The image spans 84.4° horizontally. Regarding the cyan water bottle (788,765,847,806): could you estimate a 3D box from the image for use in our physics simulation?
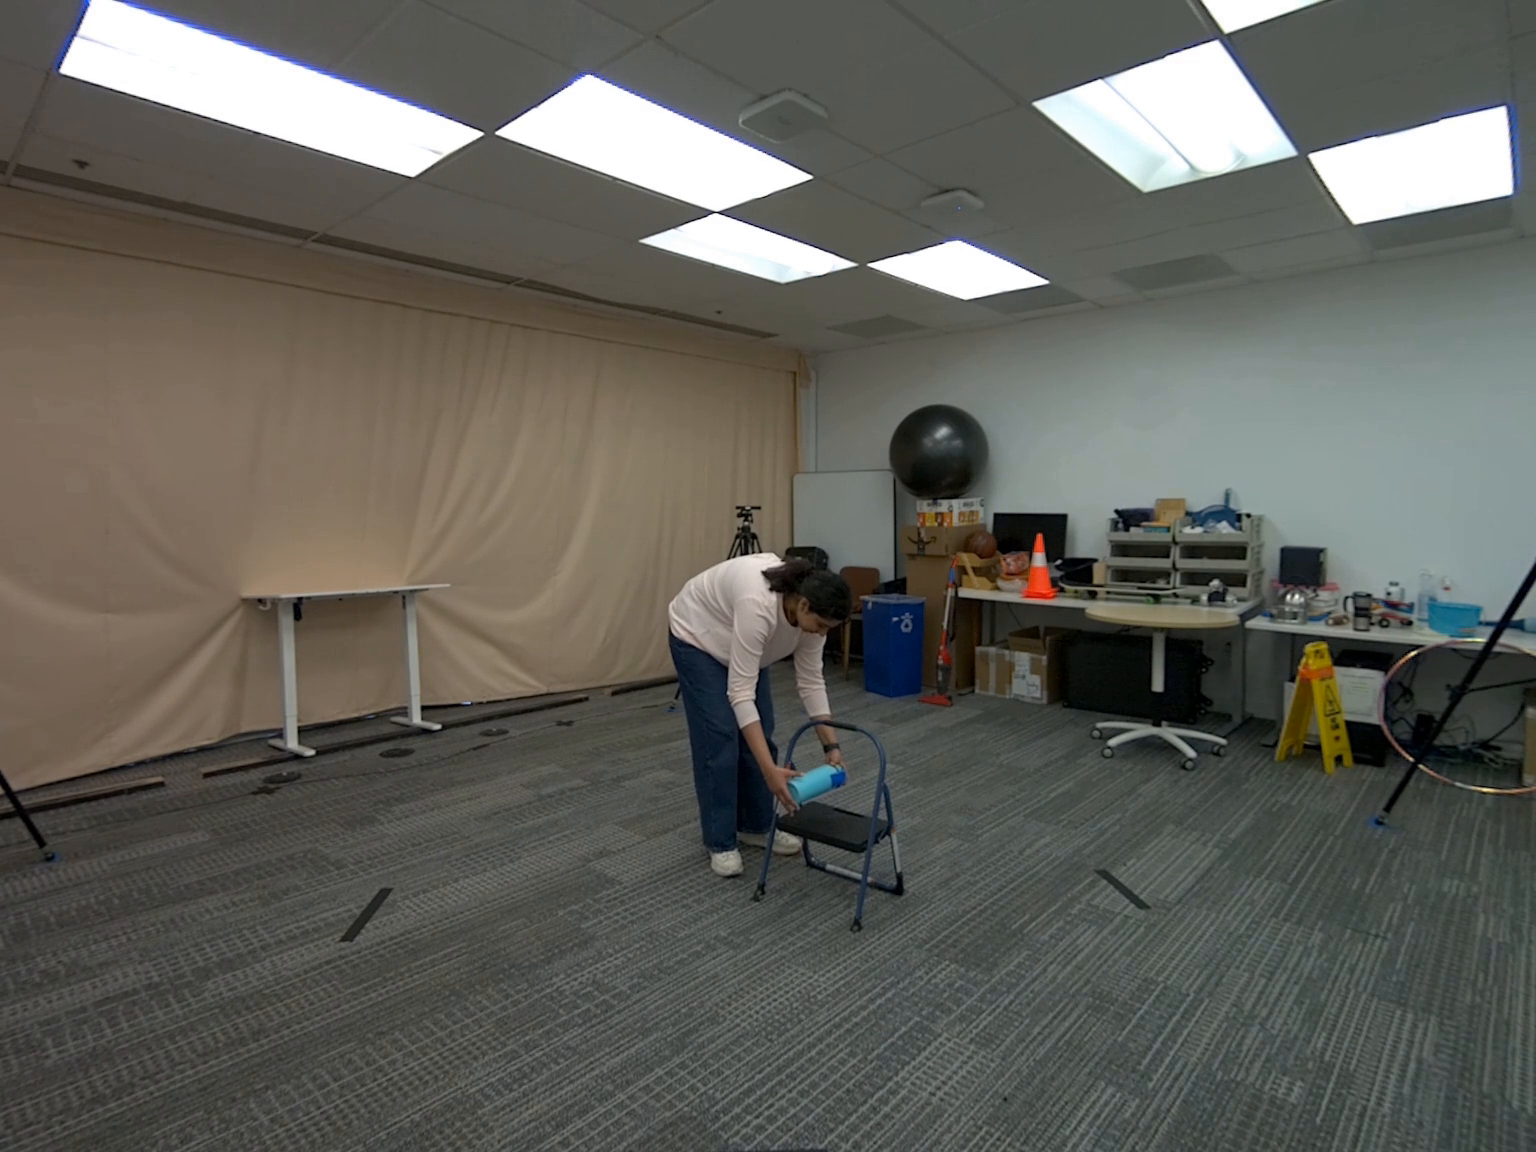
[{"bbox_3d":[0.181,0.735,3.011,0.095,0.092,0.276,3,11,37],"label":"cyan water bottle"}]
